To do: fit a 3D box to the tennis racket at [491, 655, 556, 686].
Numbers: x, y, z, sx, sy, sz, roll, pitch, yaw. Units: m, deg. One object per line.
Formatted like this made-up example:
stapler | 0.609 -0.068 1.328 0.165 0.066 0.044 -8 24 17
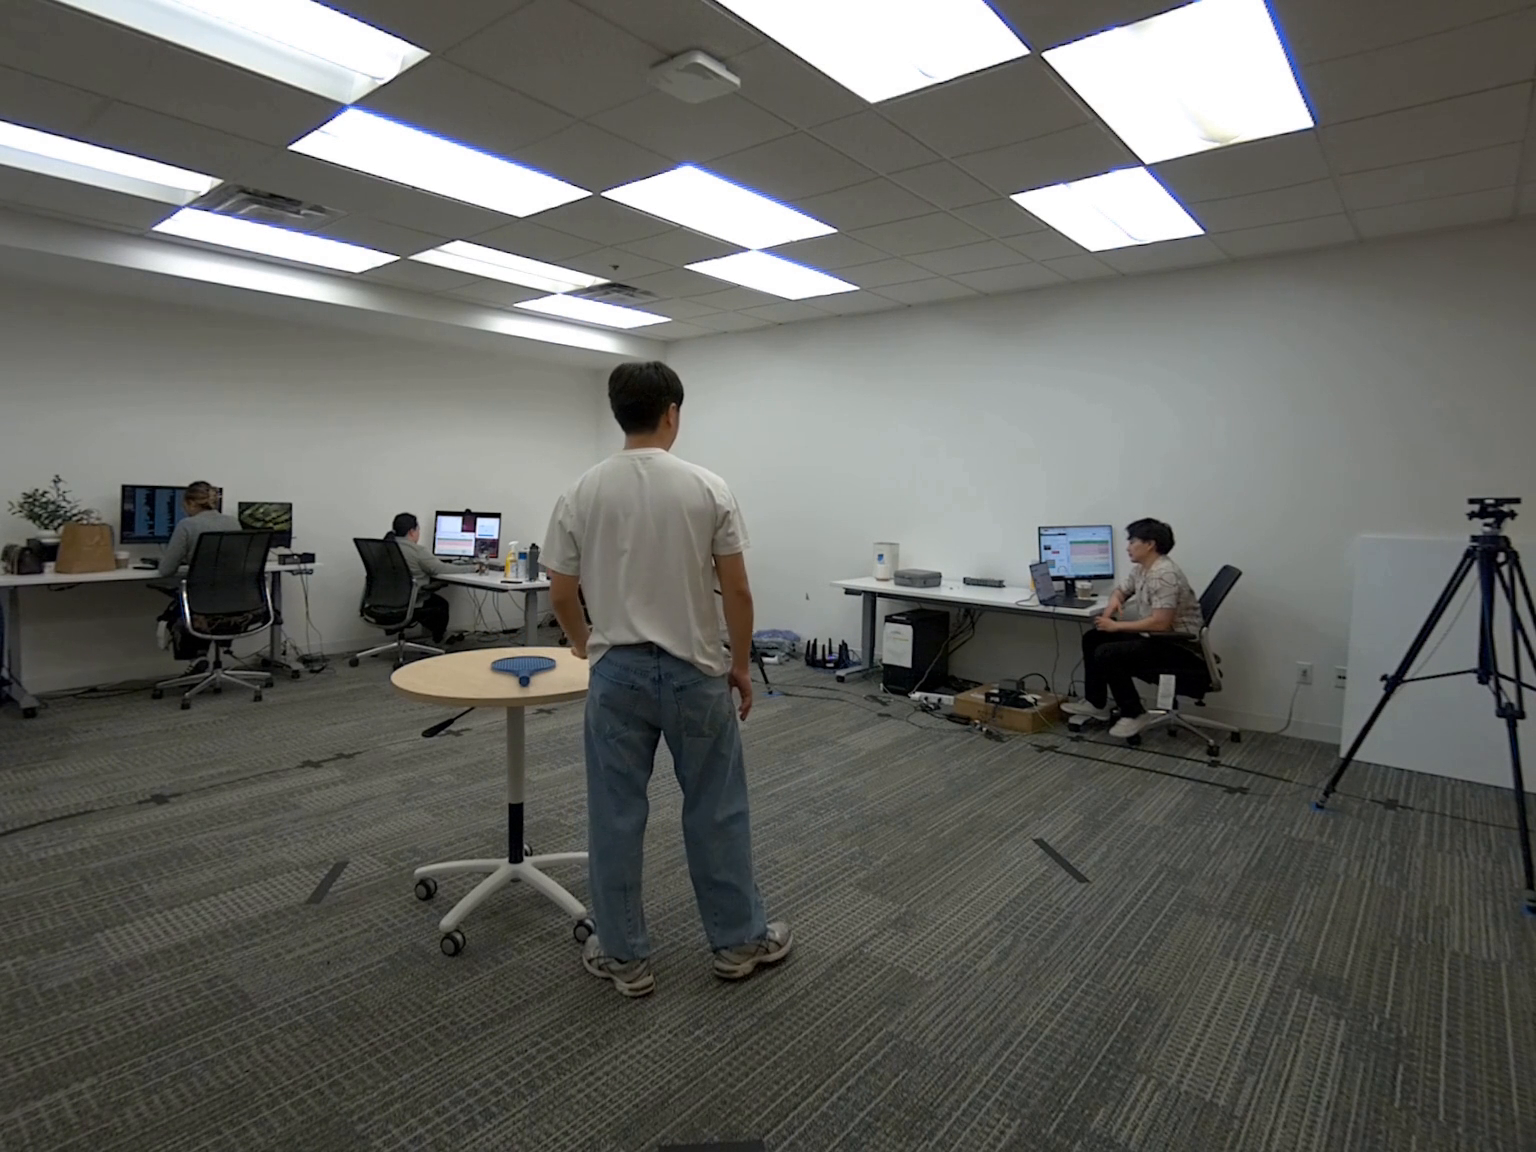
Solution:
tennis racket | -0.796 0.303 2.744 0.210 0.031 0.441 -1 4 -16
